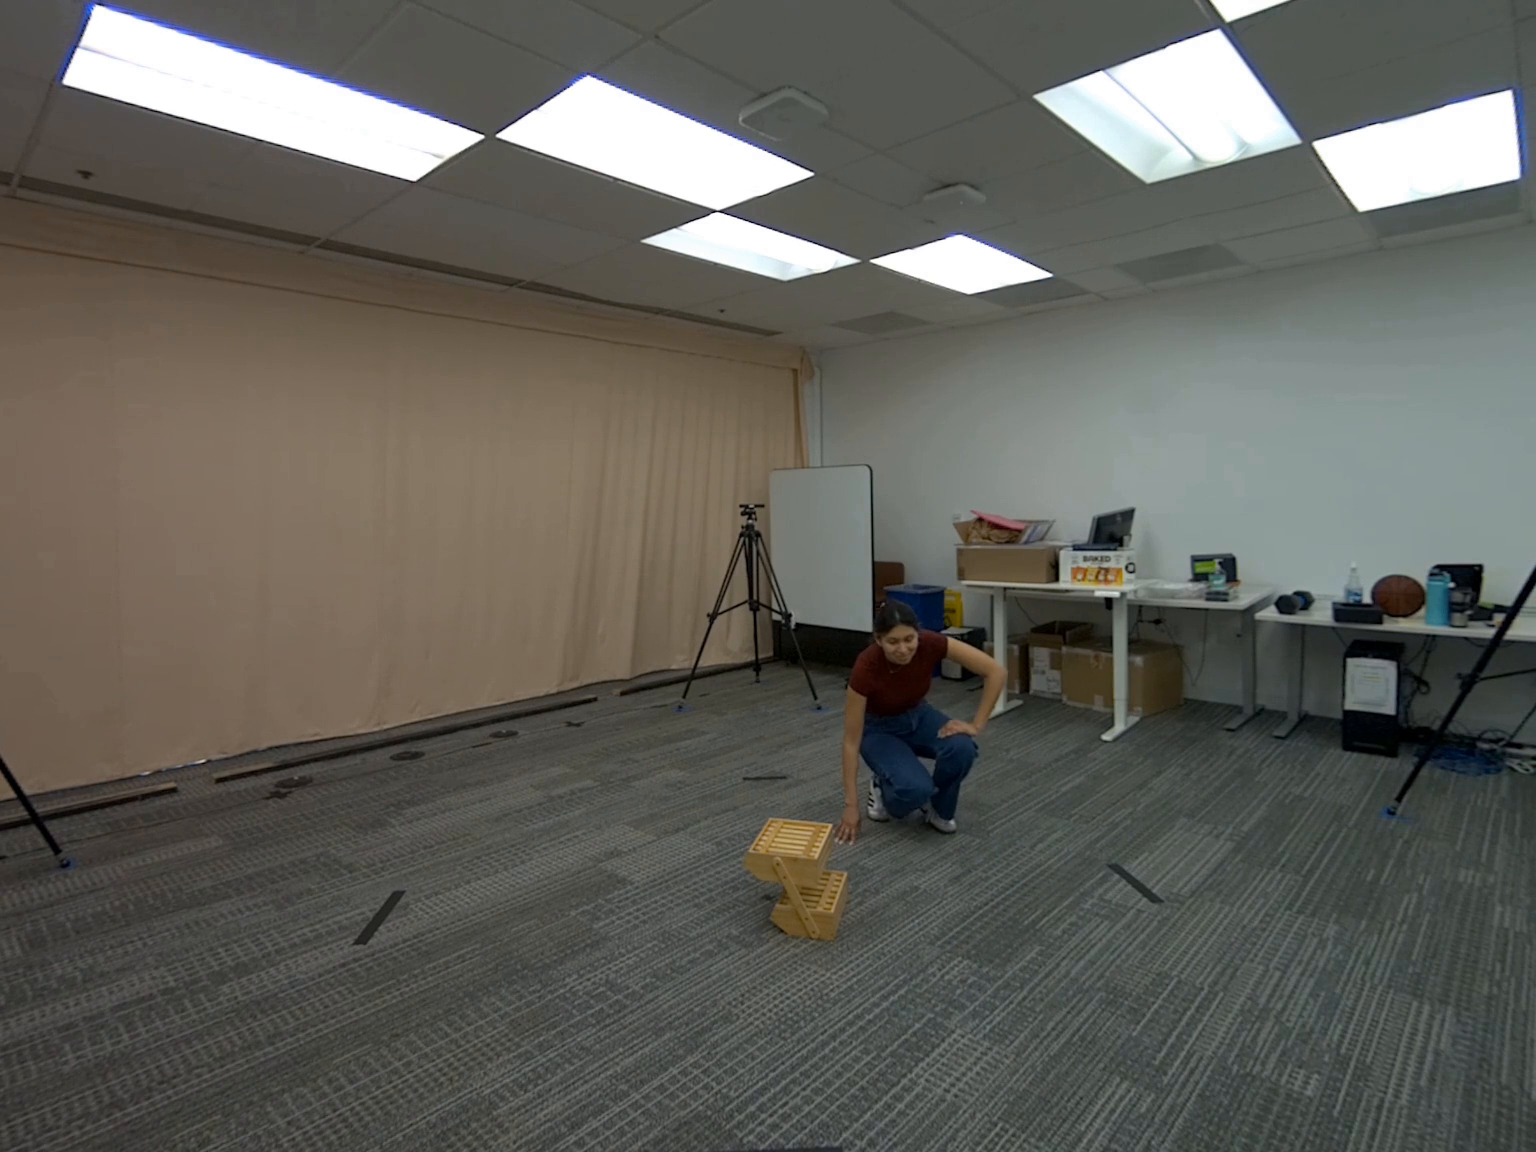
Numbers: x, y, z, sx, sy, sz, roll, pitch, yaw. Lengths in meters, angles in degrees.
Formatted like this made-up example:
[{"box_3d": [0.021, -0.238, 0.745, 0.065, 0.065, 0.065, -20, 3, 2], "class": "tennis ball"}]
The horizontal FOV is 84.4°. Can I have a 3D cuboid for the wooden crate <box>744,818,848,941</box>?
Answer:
[{"box_3d": [0.103, 1.020, 2.858, 0.307, 0.272, 0.320, 0, 4, 16], "class": "wooden crate"}]
